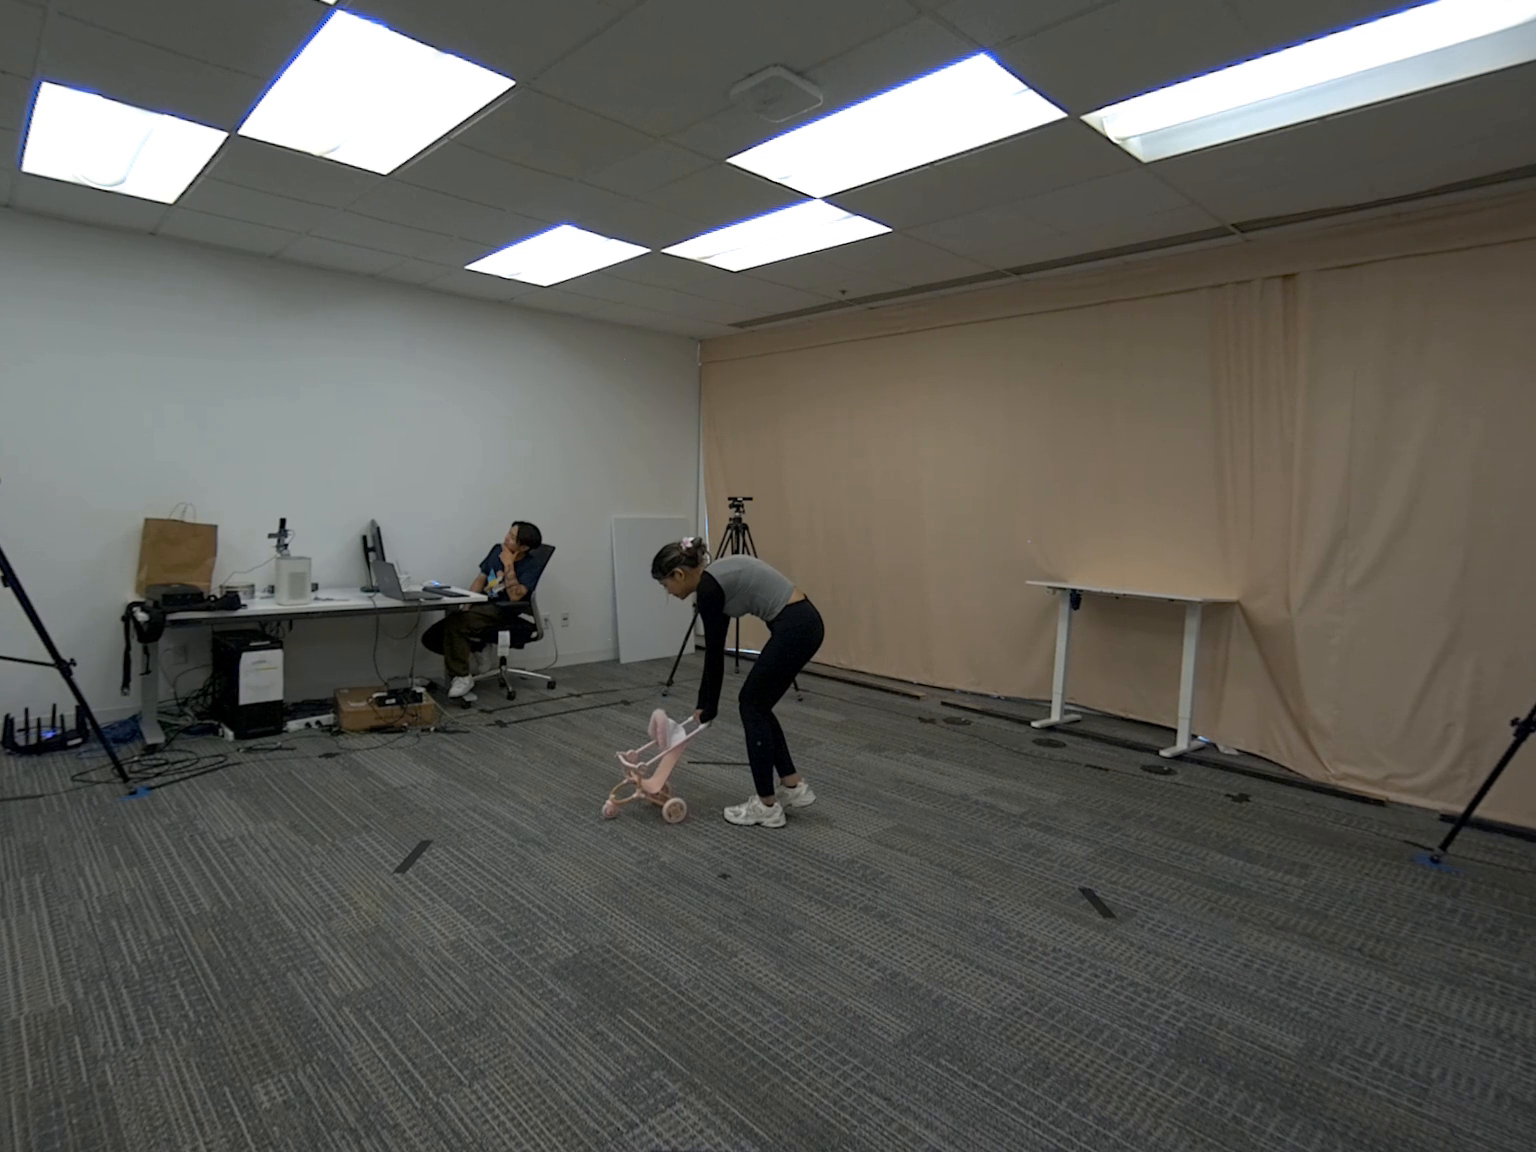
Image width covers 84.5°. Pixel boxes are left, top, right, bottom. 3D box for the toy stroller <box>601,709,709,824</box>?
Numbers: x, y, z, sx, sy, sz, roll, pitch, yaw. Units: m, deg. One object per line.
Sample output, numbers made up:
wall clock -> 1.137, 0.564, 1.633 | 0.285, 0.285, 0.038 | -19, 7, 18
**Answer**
toy stroller -> -0.508, 0.822, 3.687 | 0.336, 0.535, 0.286 | 18, -2, -17
